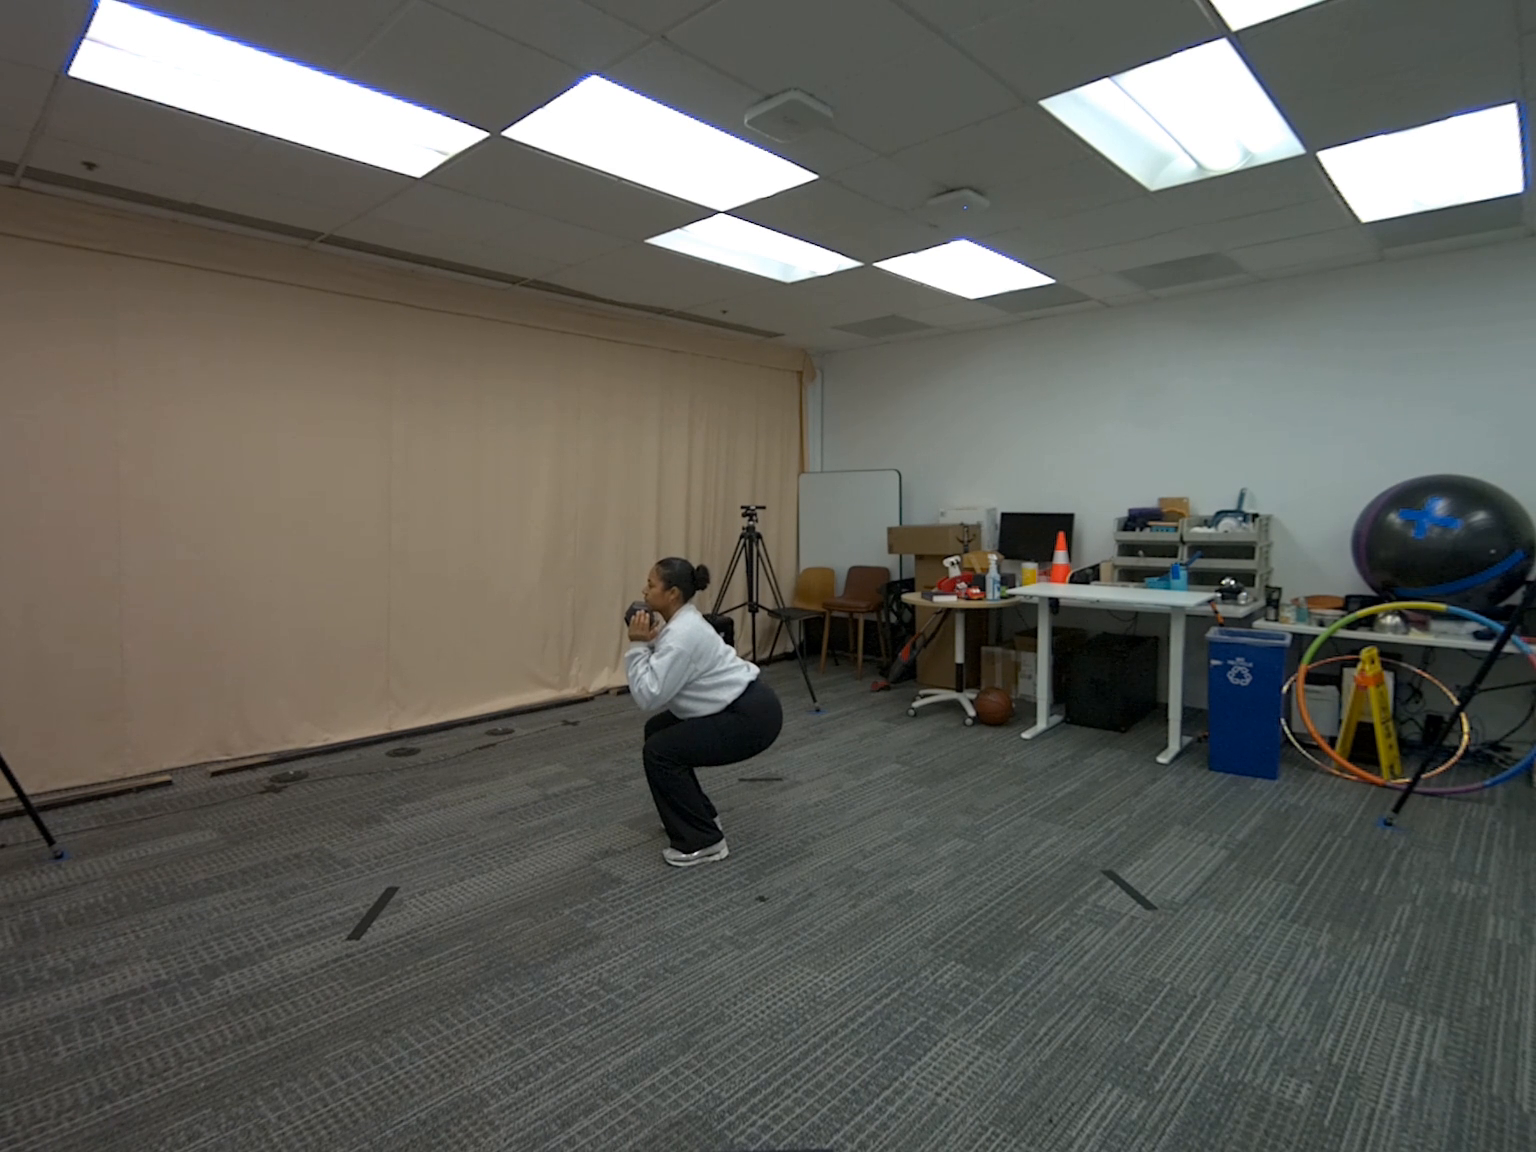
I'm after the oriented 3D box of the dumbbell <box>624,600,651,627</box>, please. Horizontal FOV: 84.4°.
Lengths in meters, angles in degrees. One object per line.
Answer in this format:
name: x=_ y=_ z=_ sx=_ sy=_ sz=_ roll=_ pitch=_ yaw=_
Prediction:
dumbbell: x=-0.514 y=0.146 z=3.427 sx=0.108 sy=0.123 sz=0.295 roll=39 pitch=-2 yaw=-6
